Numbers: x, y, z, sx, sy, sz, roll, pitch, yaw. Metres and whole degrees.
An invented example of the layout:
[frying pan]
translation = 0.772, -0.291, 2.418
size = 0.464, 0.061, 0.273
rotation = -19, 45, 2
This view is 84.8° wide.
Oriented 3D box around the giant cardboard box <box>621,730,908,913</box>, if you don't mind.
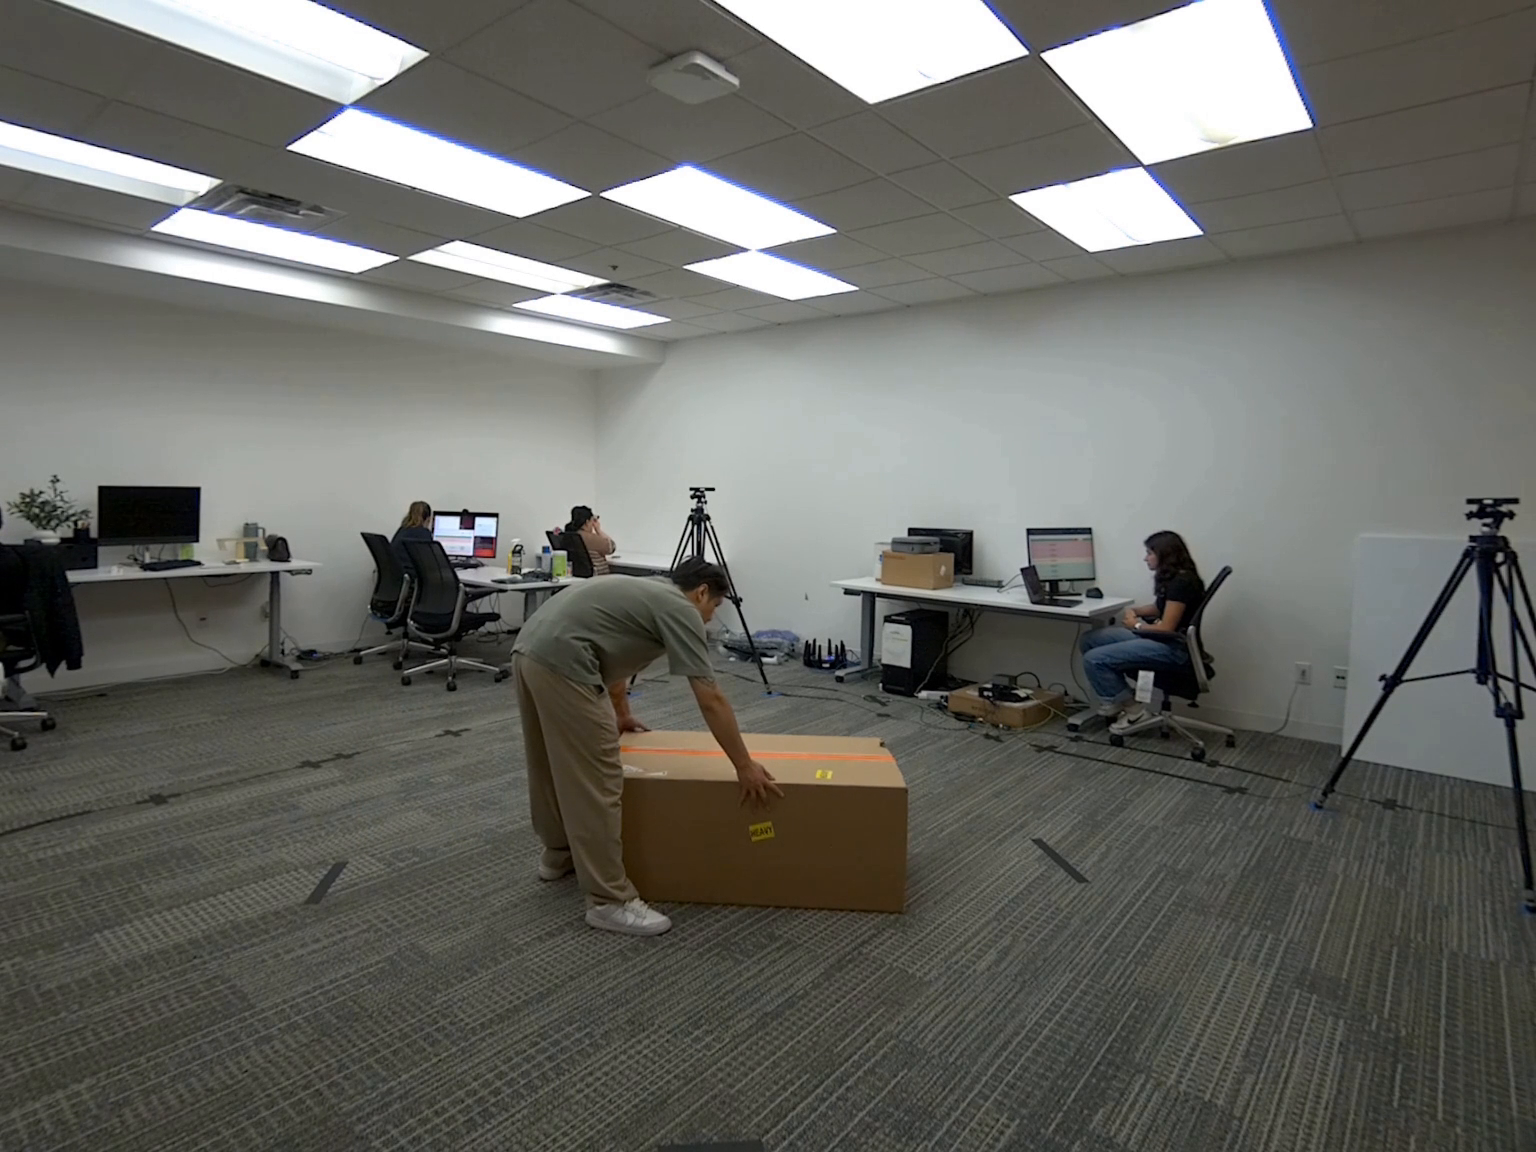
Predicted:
[giant cardboard box]
translation = -0.059, 0.855, 3.112
size = 1.027, 0.425, 0.579
rotation = 1, 4, 0
